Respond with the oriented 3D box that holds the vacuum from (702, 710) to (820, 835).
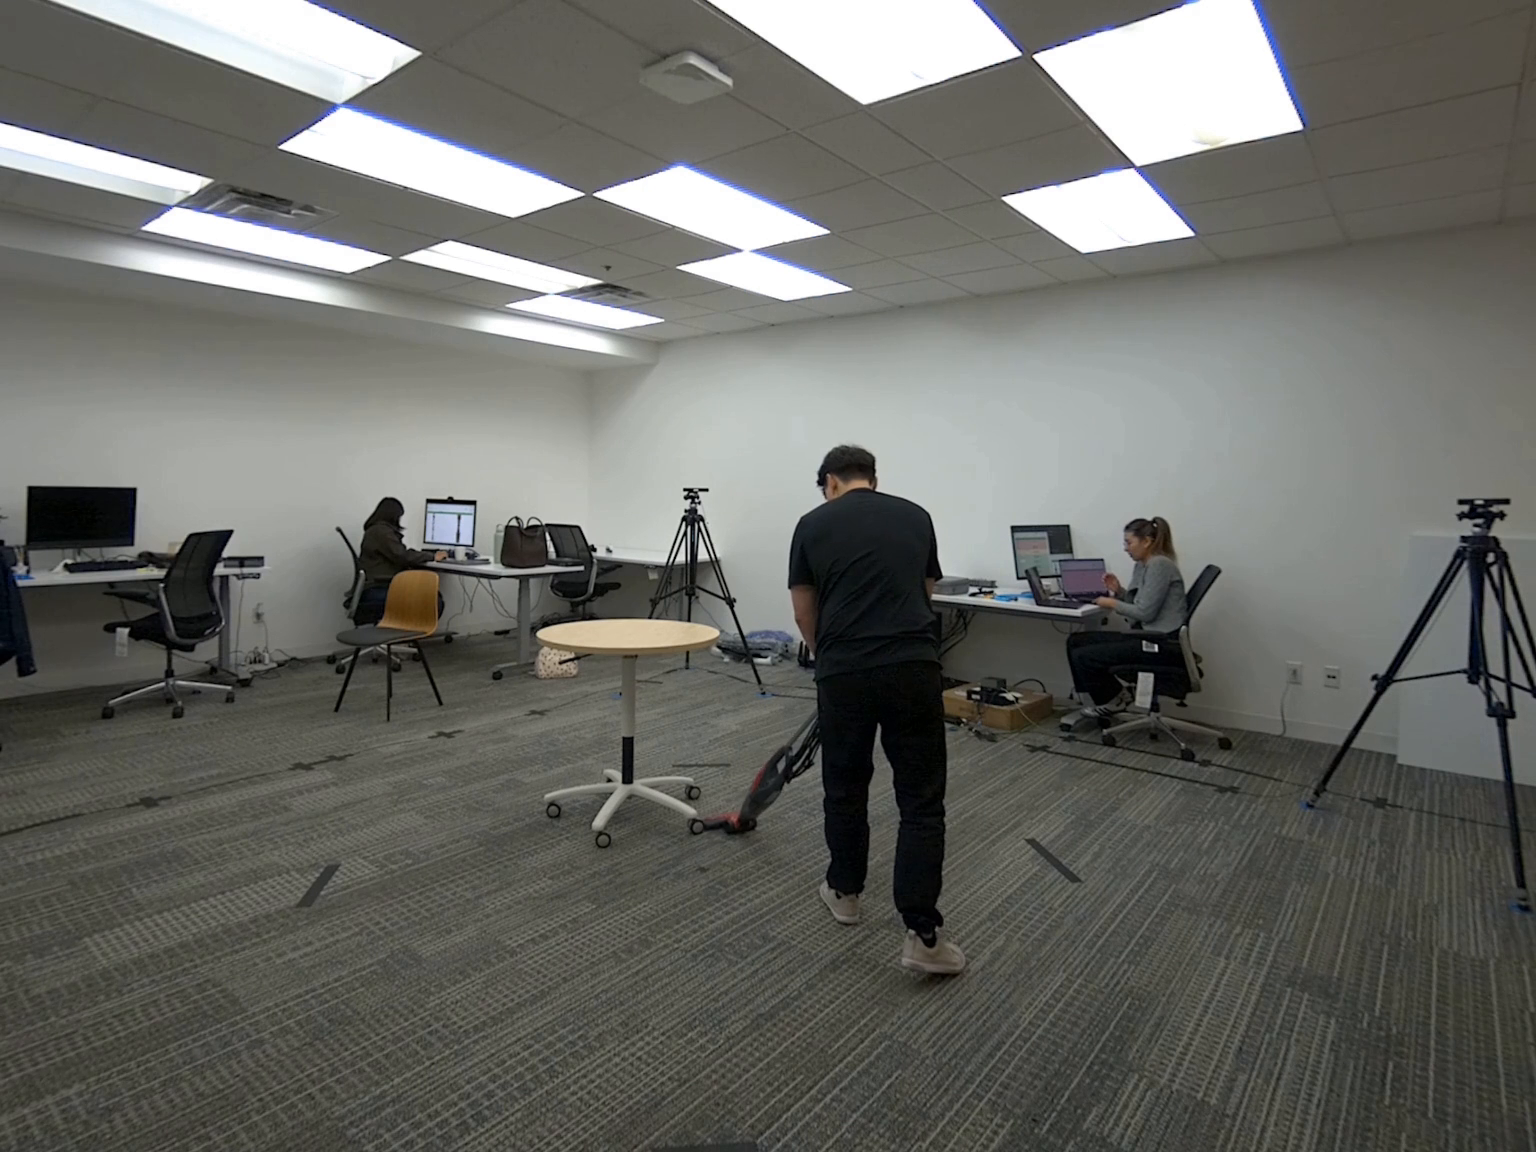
[{"bbox_3d":[0.074,0.682,3.190,0.245,0.149,1.042,-3,-38,-37],"label":"vacuum"}]
